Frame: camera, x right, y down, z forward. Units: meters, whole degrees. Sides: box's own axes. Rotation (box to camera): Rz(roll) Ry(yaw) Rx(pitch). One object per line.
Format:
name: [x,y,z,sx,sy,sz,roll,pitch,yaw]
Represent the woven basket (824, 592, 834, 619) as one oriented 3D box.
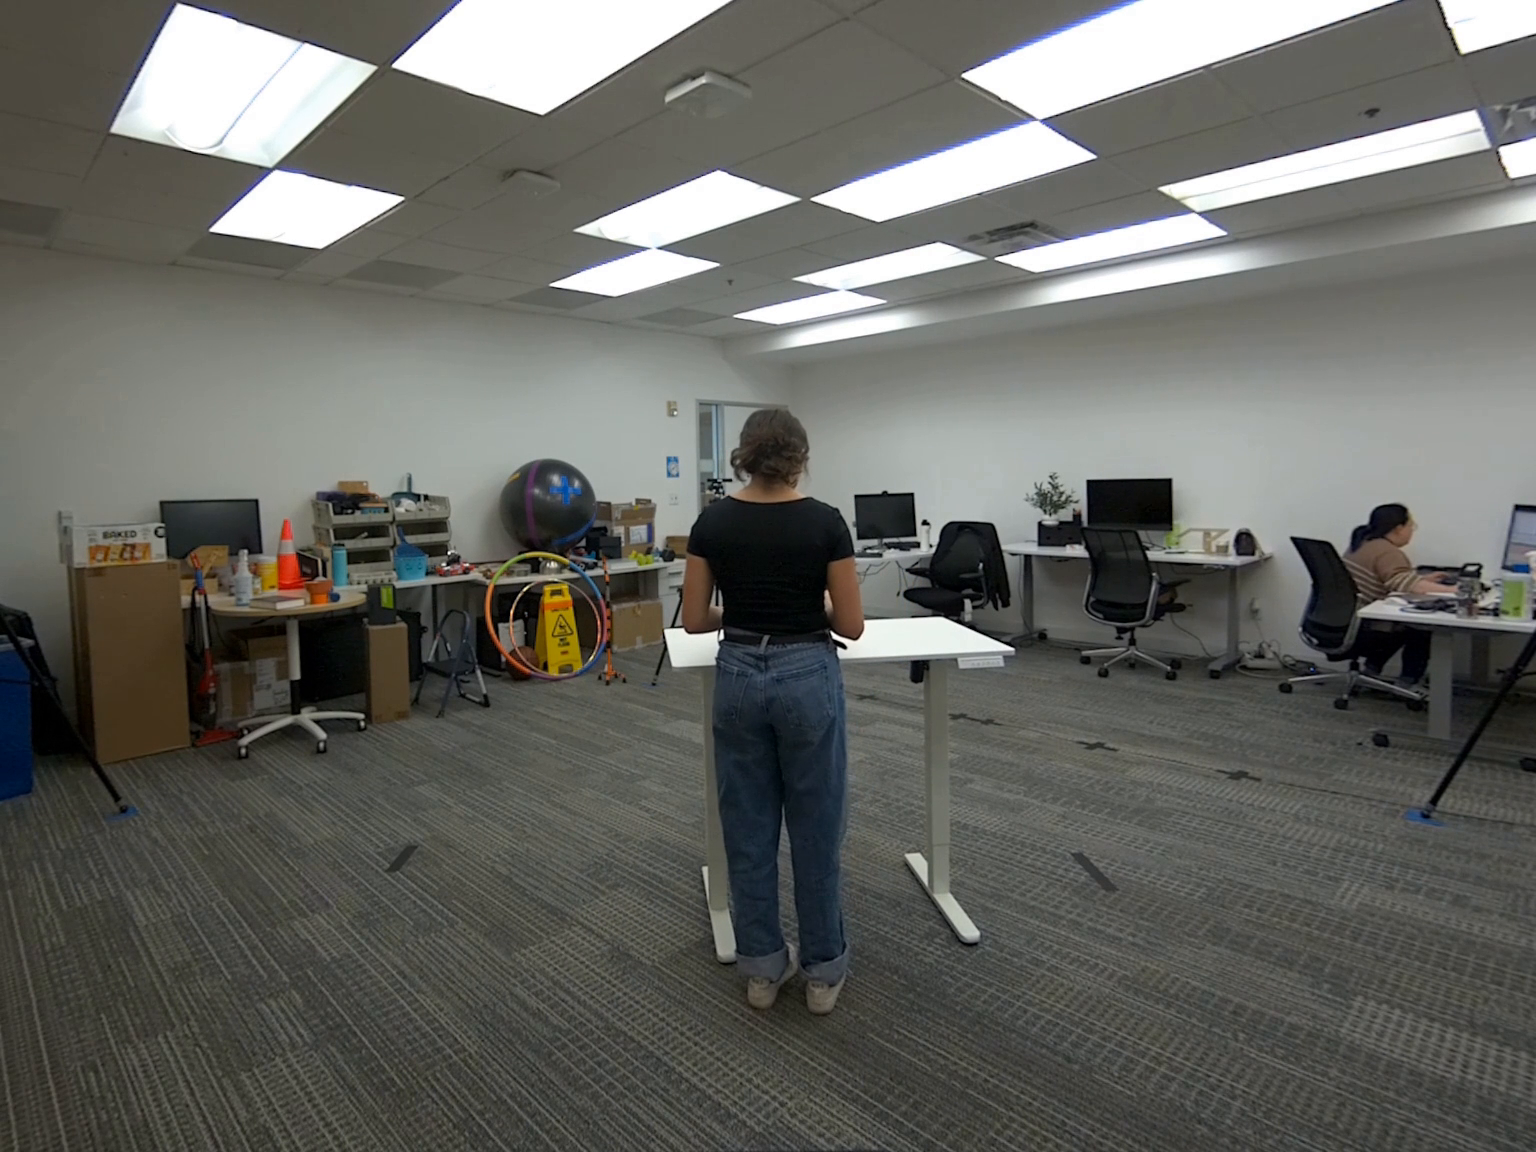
woven basket: [0.030,0.103,2.566,0.259,0.073,0.343,1,9,31]
